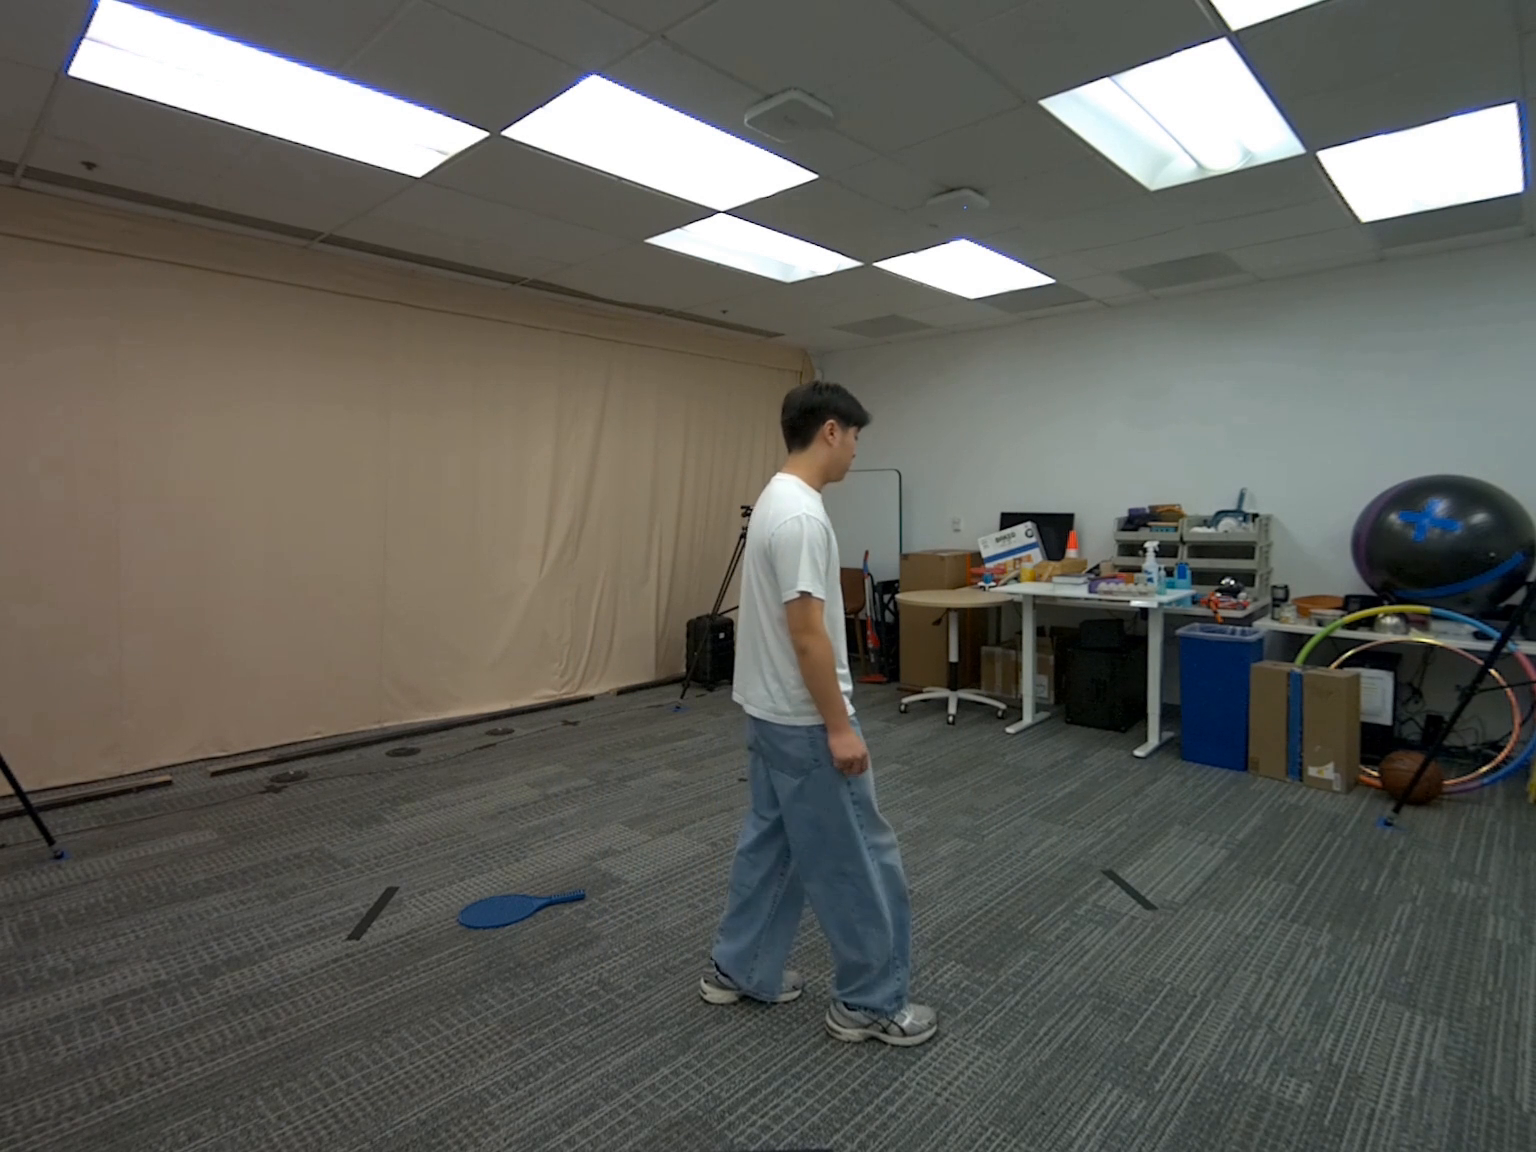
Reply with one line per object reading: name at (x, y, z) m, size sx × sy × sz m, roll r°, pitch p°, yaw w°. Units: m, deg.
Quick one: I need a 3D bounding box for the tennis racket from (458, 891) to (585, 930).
tennis racket at (-0.849, 1.141, 2.914) m, size 0.425 × 0.031 × 0.218 m, roll -4°, pitch 6°, yaw -19°
